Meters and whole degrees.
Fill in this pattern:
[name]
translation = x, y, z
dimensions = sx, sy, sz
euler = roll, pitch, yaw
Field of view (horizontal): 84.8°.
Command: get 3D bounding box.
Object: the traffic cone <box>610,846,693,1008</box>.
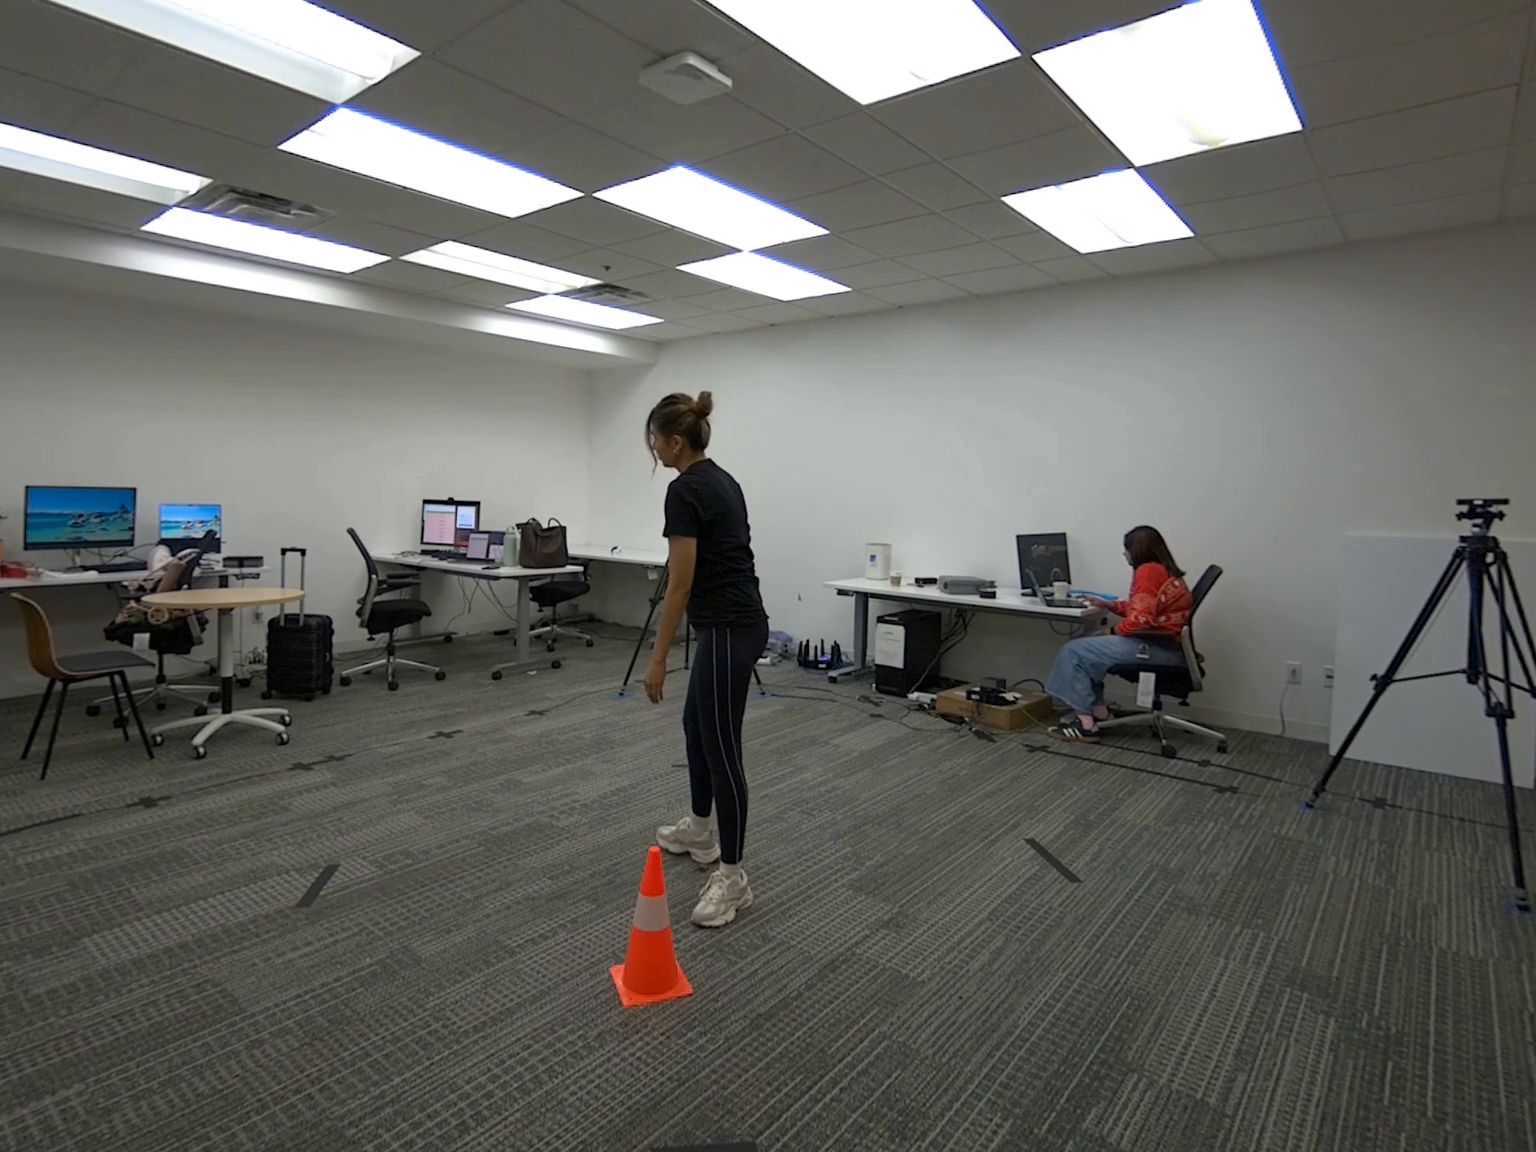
[traffic cone]
translation = -0.332, 0.955, 2.380
dimensions = 0.199, 0.382, 0.210
euler = -1, 4, -23
